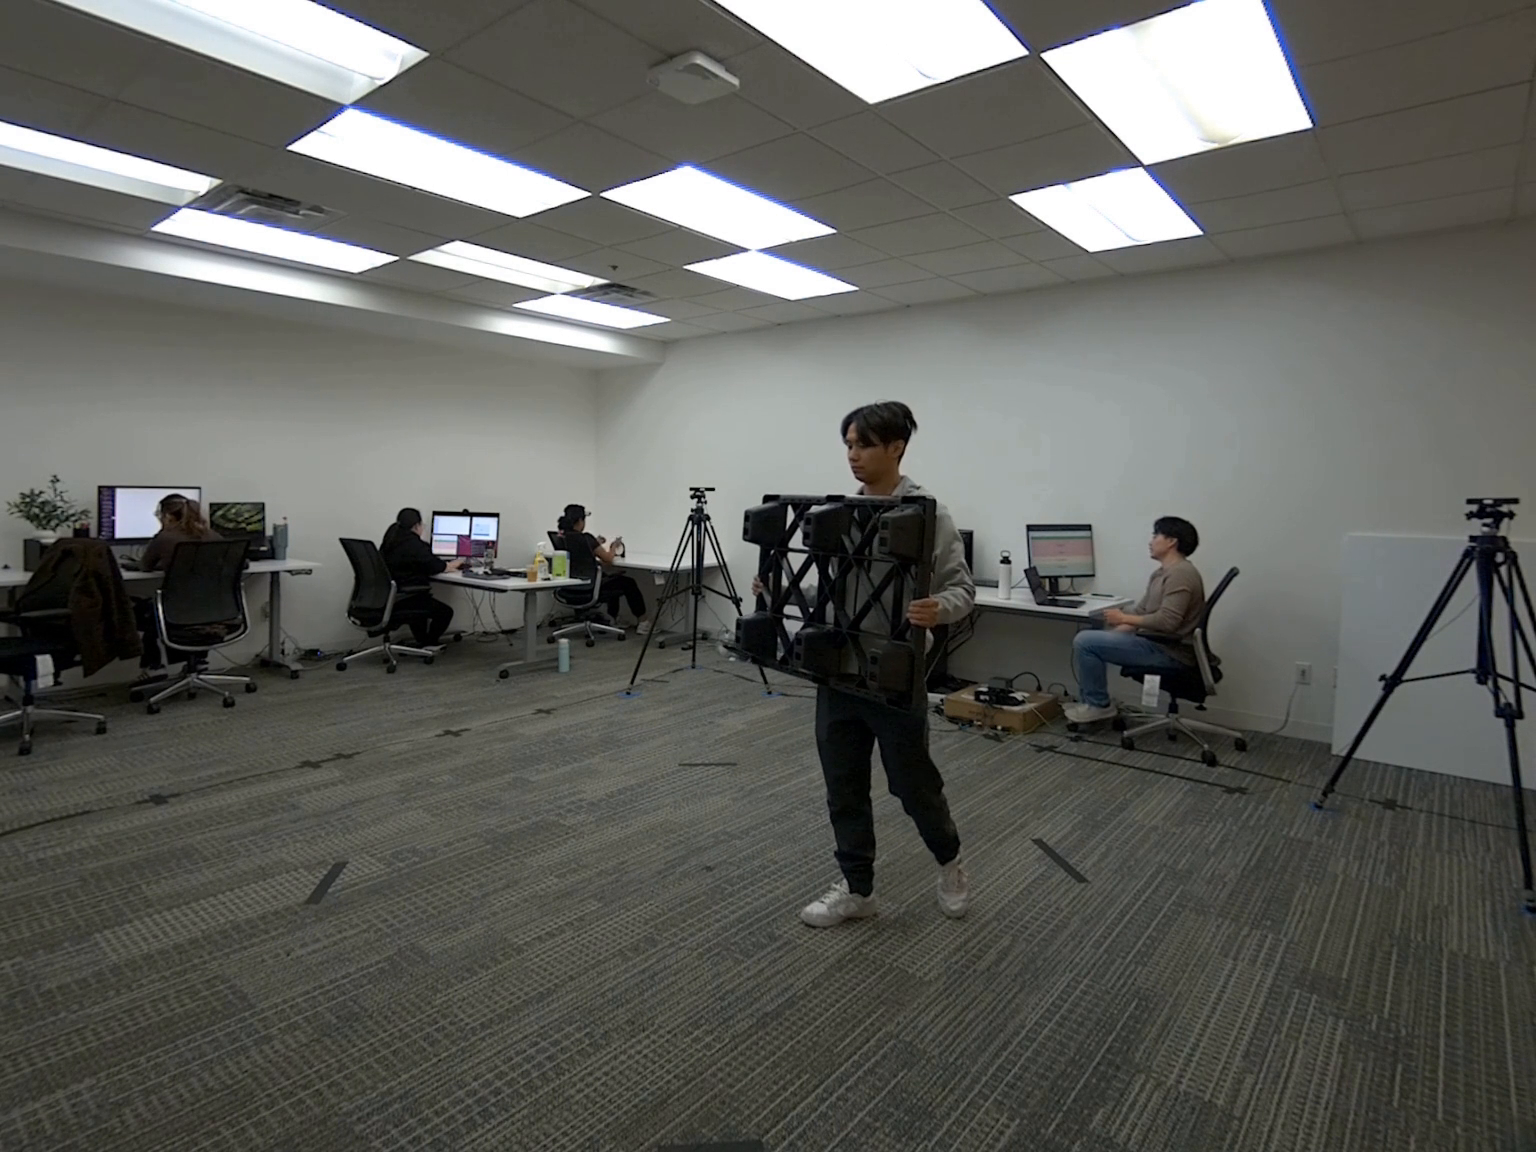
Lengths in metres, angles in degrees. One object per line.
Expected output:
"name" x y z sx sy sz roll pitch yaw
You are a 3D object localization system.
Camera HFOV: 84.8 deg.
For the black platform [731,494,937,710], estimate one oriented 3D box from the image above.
"black platform" 0.153 0.043 2.655 0.139 0.604 0.831 4 2 -33
